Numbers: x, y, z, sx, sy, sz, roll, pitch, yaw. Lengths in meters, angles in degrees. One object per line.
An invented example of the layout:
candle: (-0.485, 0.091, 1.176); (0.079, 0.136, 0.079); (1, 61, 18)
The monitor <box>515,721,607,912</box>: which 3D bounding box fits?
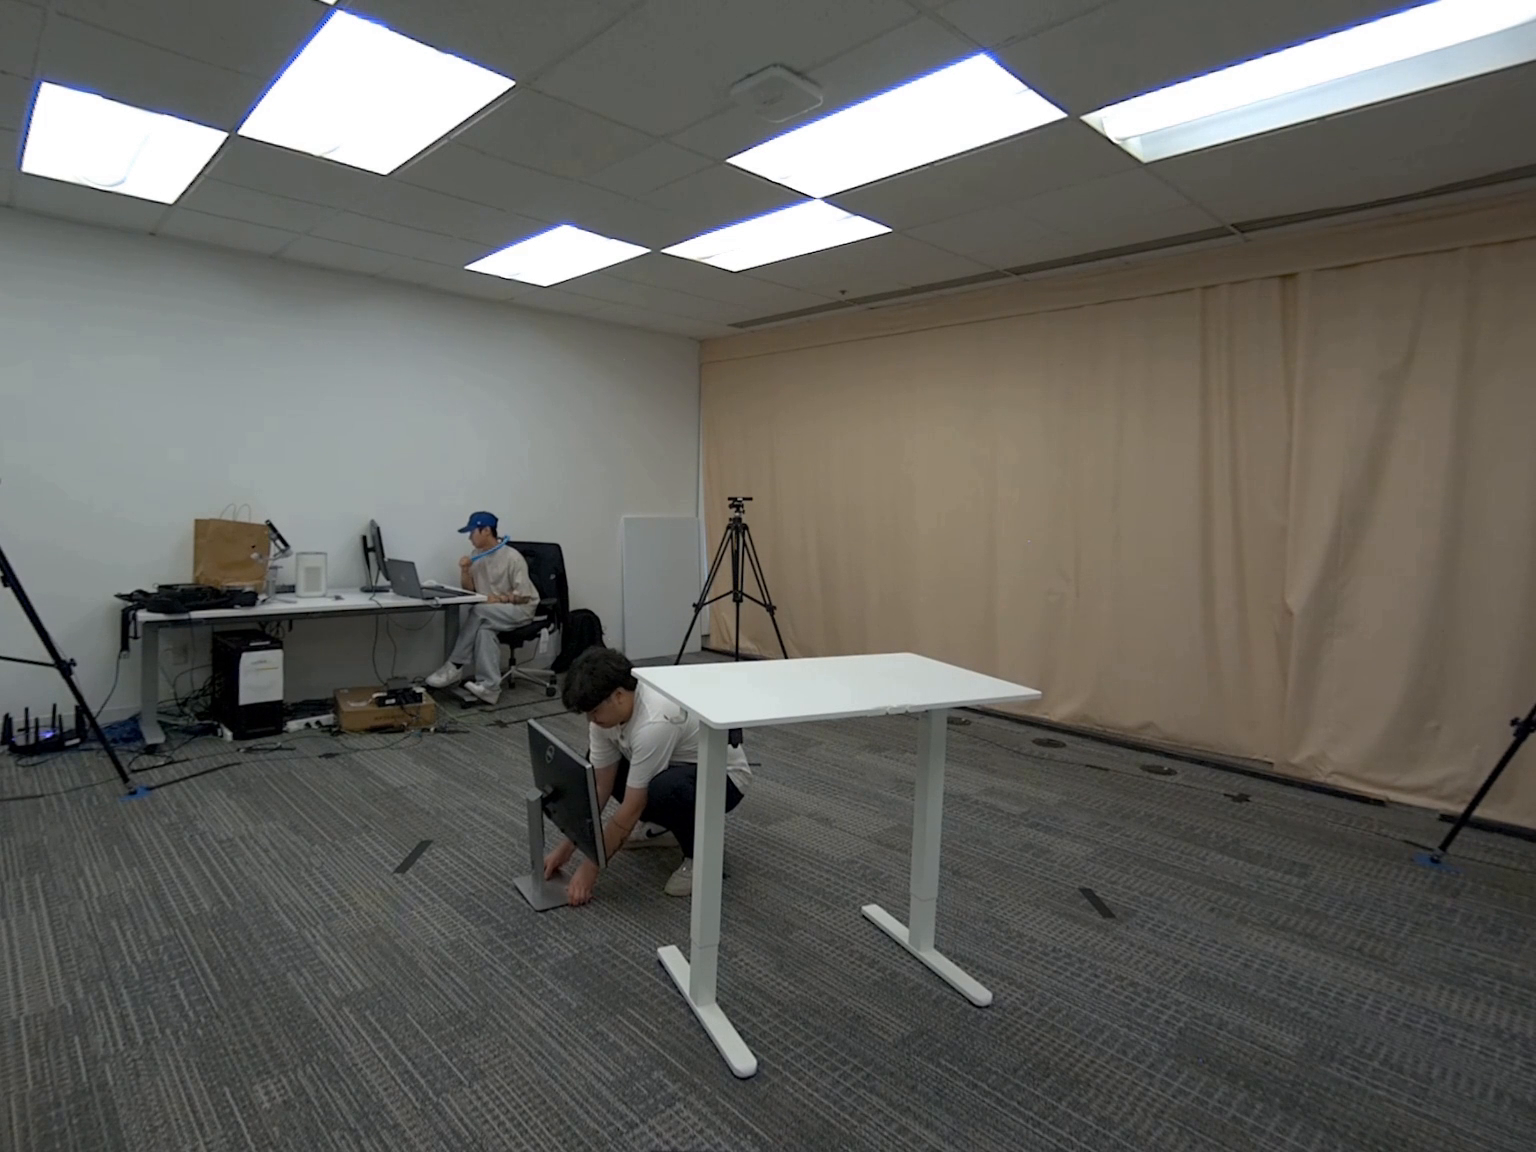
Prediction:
monitor: (-0.765, 0.837, 2.914); (0.206, 0.550, 0.580); (-6, 10, -34)
